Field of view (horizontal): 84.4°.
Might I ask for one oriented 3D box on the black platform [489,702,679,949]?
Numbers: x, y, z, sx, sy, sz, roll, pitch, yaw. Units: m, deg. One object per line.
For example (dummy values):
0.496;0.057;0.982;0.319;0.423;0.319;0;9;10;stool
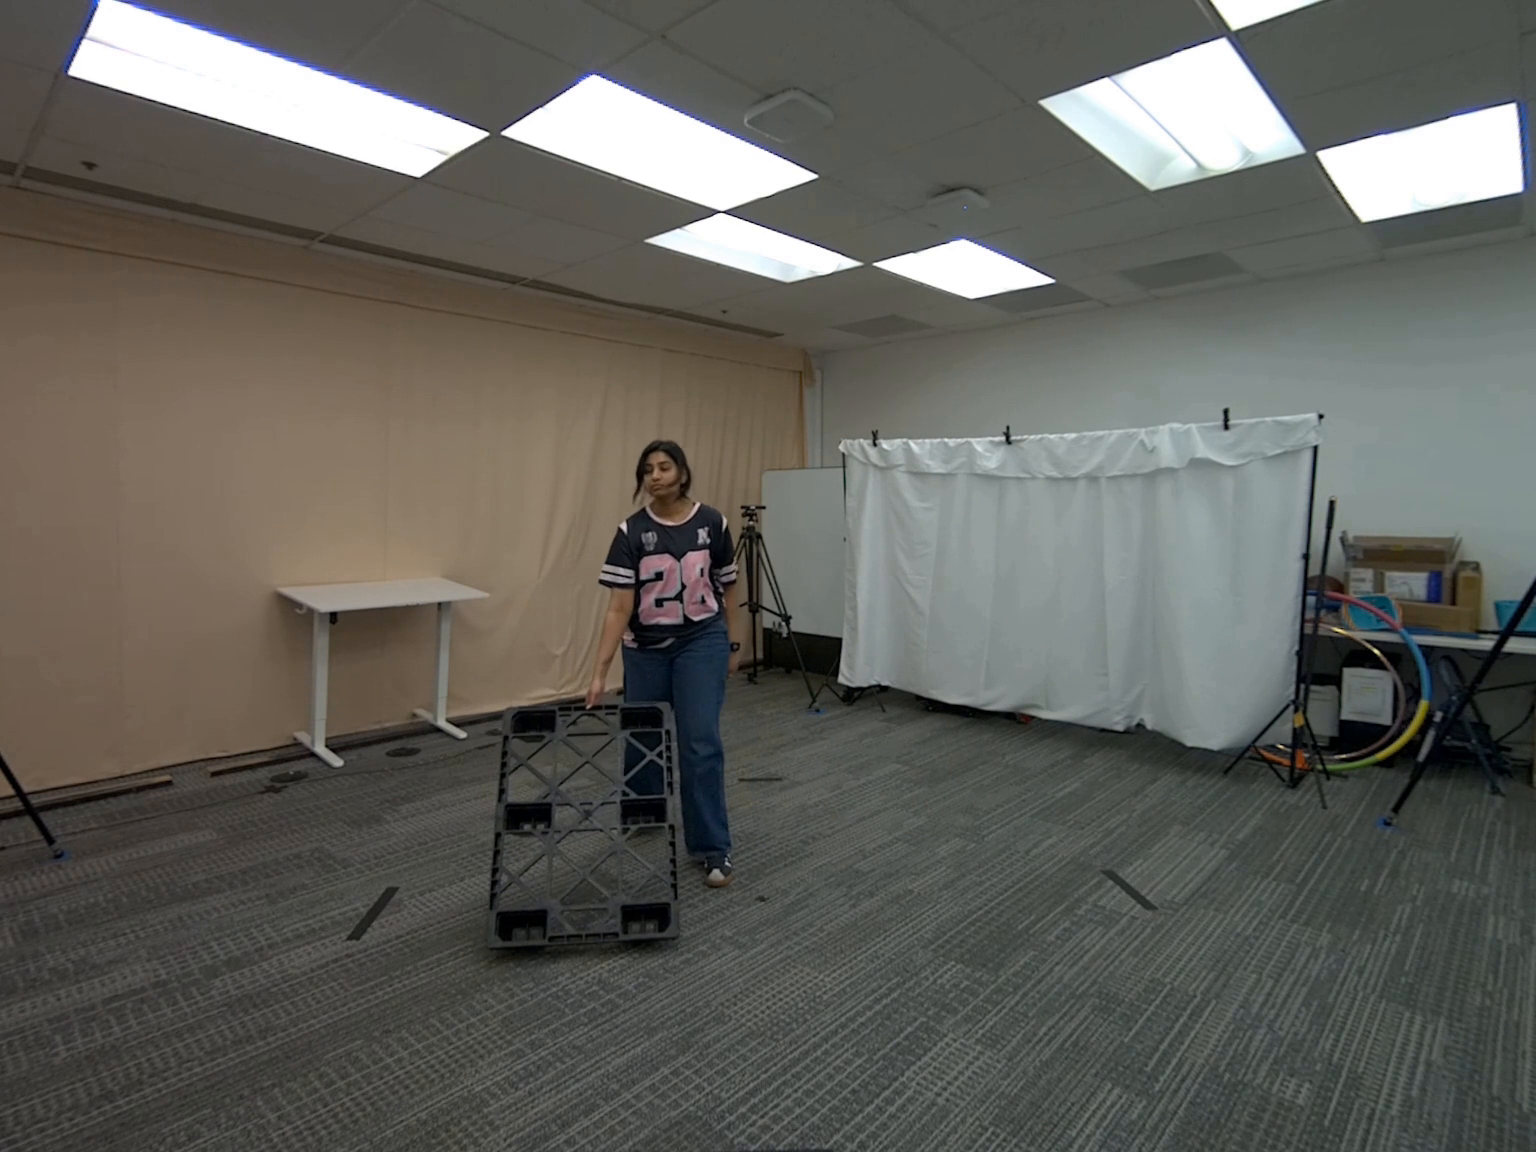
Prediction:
-0.617;0.825;2.870;0.600;0.822;0.141;-1;-34;-8;black platform
